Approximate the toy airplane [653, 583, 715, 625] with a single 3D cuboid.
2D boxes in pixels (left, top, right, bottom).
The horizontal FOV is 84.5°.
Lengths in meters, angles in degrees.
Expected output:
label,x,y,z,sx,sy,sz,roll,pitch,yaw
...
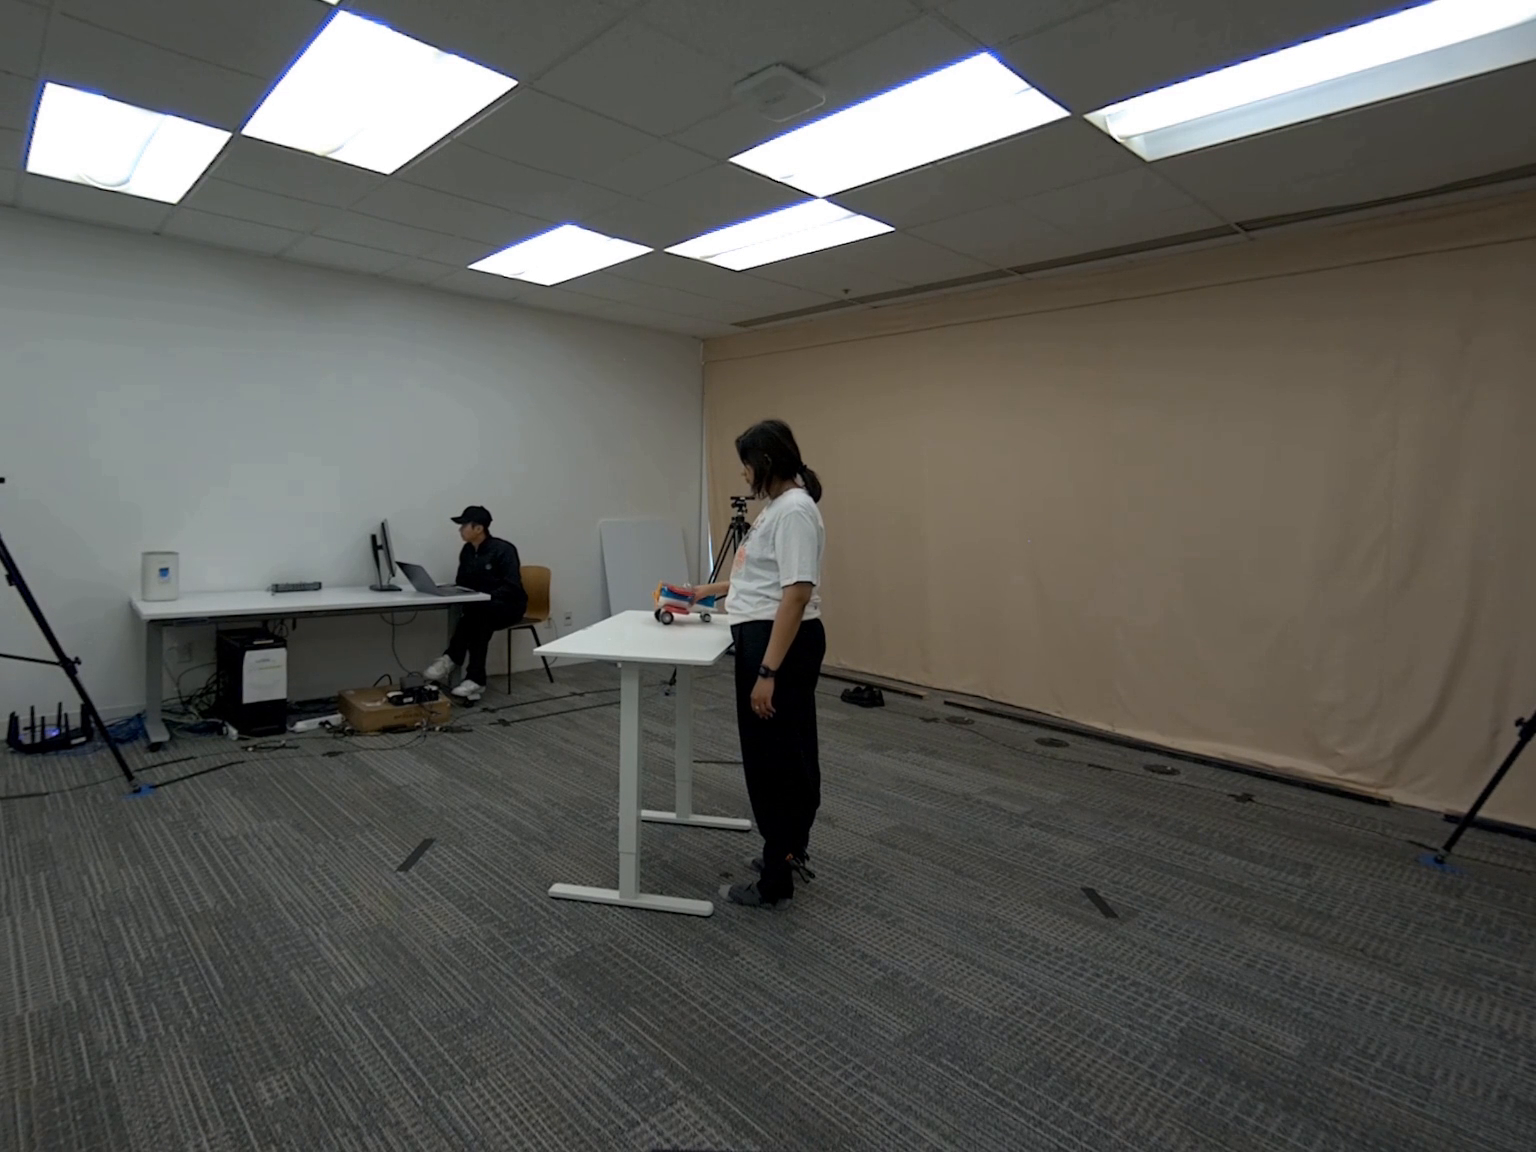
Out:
label,x,y,z,sx,sy,sz,roll,pitch,yaw
toy airplane,-0.356,0.112,3.420,0.257,0.156,0.253,6,8,40
